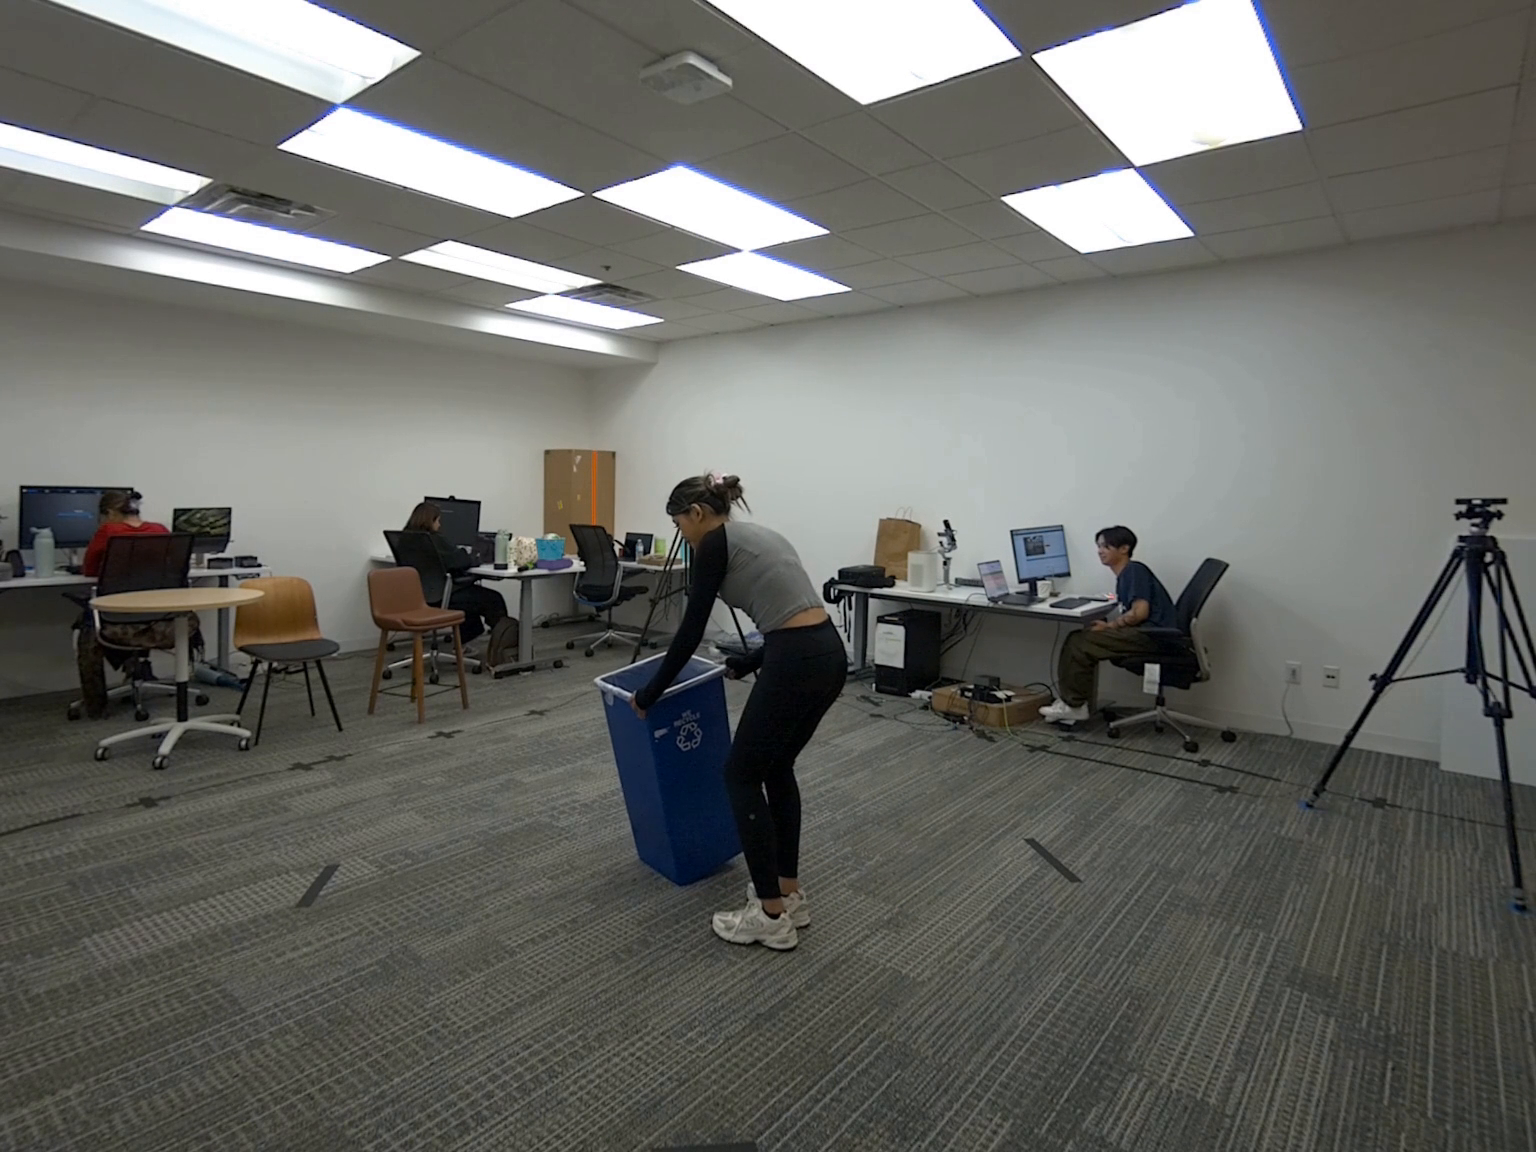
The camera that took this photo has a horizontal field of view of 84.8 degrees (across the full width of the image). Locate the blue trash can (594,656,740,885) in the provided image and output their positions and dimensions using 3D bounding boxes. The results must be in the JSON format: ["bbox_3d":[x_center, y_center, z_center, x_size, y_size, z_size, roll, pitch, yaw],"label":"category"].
[{"bbox_3d":[-0.341,0.688,3.096,0.370,0.705,0.386,-17,13,-36],"label":"blue trash can"}]
